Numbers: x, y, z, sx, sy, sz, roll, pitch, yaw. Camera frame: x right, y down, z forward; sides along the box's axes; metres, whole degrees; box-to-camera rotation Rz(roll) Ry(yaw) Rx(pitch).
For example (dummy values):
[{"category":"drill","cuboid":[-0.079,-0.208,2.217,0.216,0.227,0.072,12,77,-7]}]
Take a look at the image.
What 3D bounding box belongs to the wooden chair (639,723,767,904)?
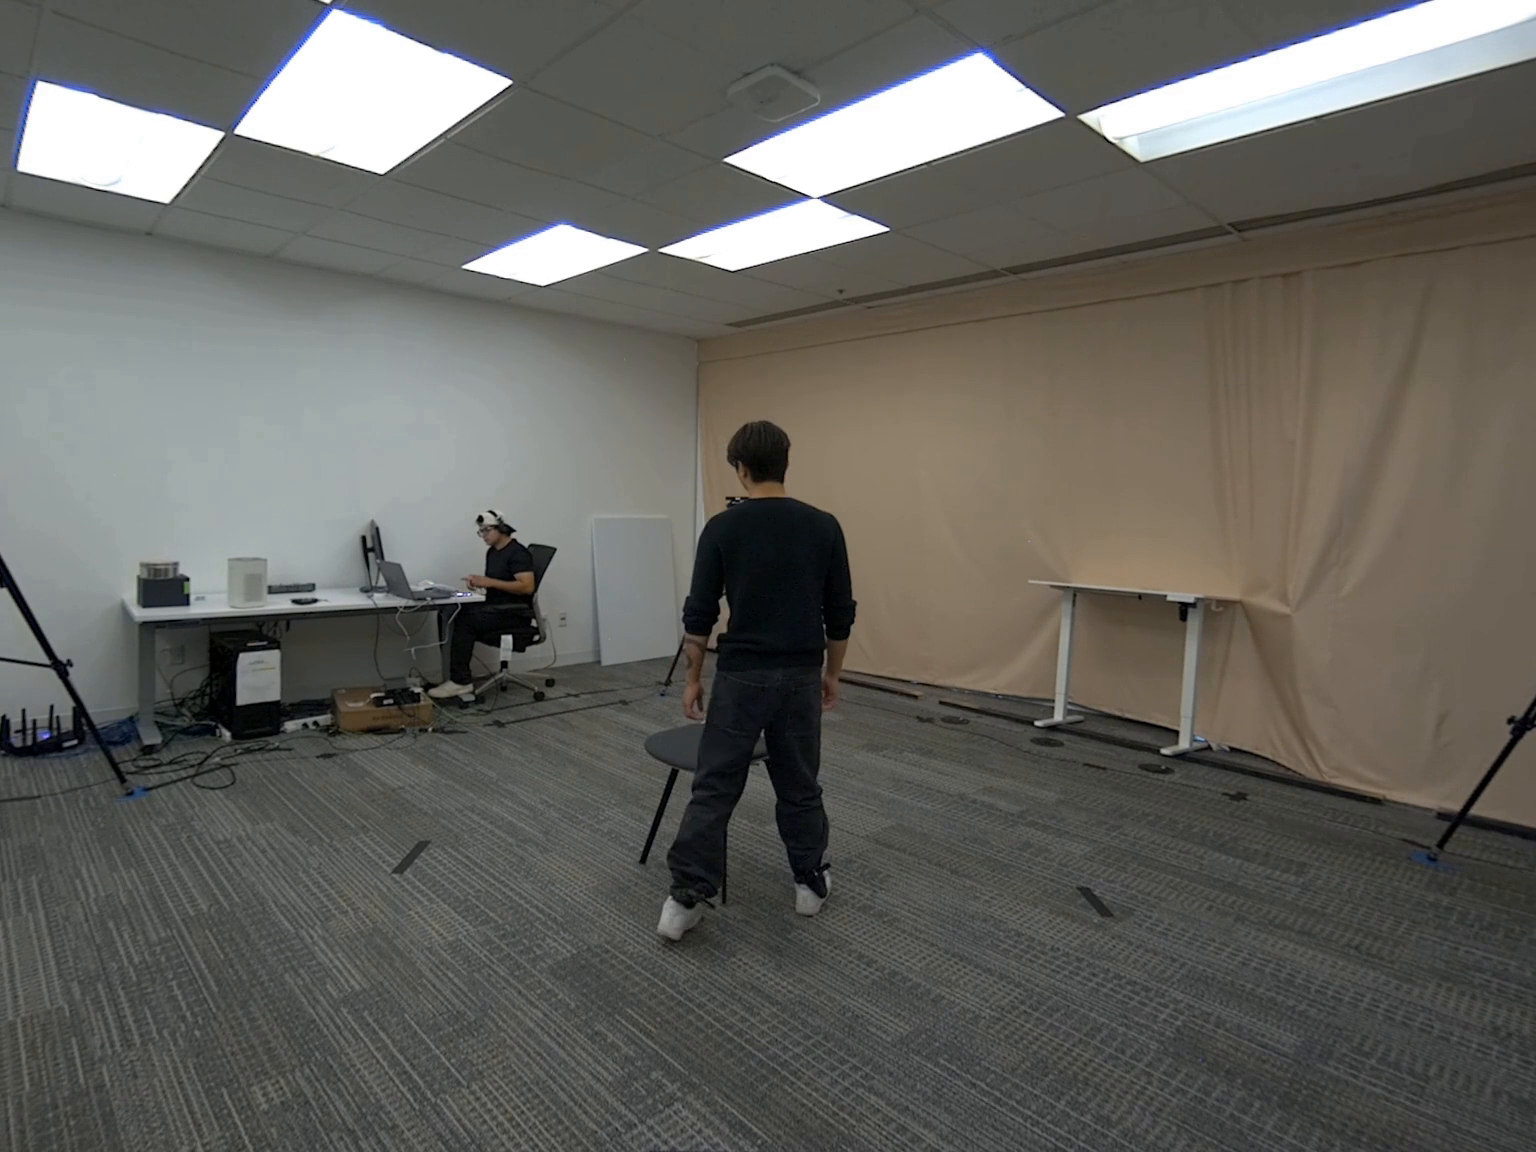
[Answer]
[{"category":"wooden chair","cuboid":[-0.171,0.675,3.164,0.490,0.877,0.510,5,0,43]}]
